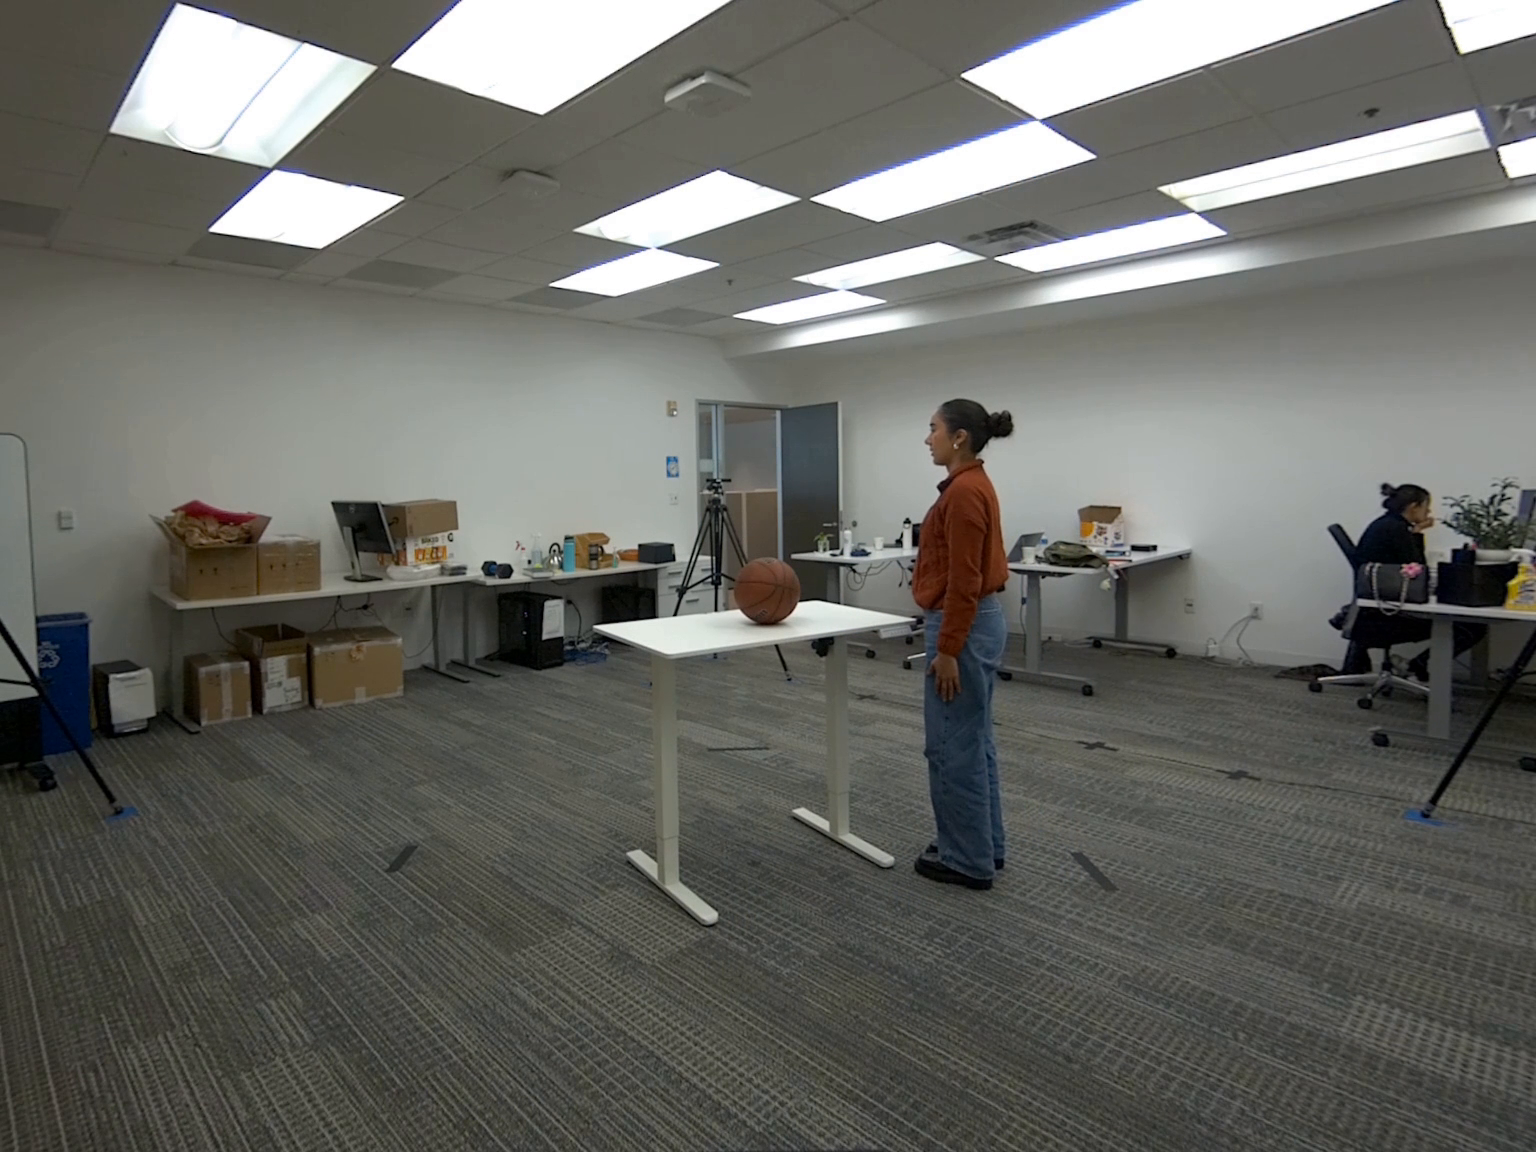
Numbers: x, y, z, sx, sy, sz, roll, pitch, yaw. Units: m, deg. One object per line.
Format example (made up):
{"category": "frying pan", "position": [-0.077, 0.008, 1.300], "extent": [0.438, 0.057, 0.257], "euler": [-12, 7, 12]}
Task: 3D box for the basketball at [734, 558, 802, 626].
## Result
{"category": "basketball", "position": [0.007, 0.052, 3.034], "extent": [0.236, 0.235, 0.237], "euler": [-1, 5, -2]}
